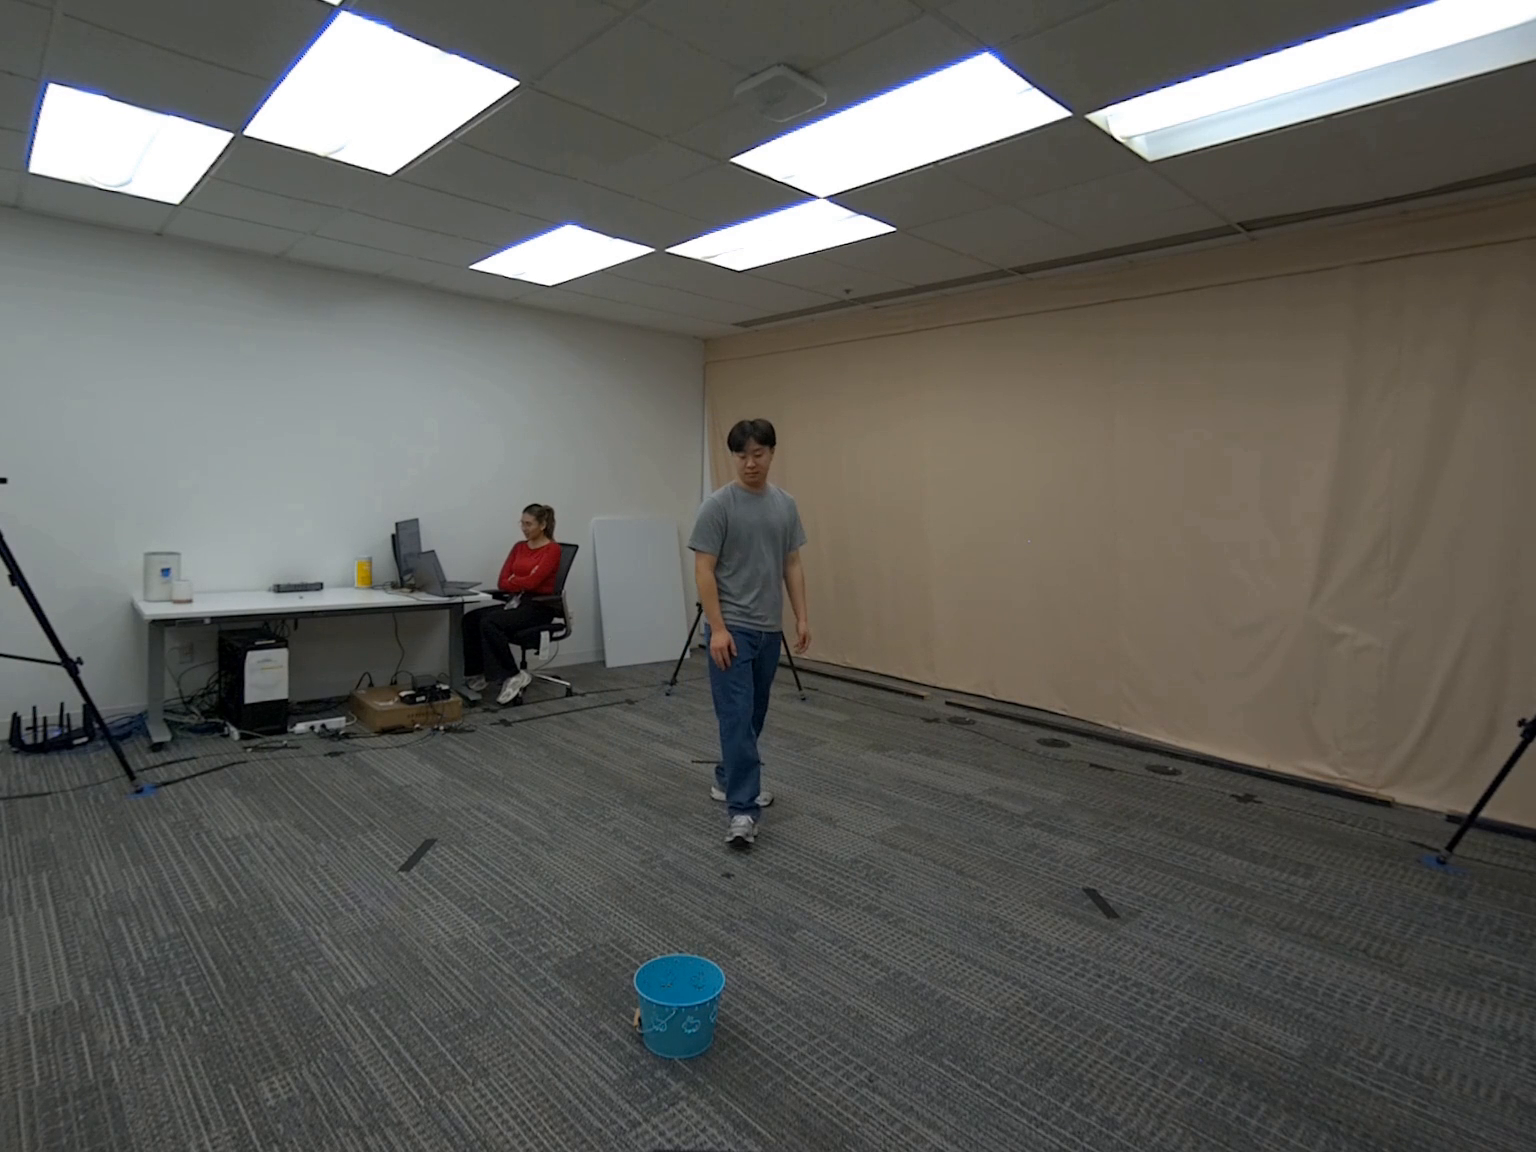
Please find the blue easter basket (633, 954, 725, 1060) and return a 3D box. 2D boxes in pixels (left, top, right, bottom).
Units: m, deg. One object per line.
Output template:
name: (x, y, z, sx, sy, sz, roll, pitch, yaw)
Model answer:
blue easter basket: (-0.237, 1.116, 2.171, 0.243, 0.155, 0.244, 1, 5, -1)
